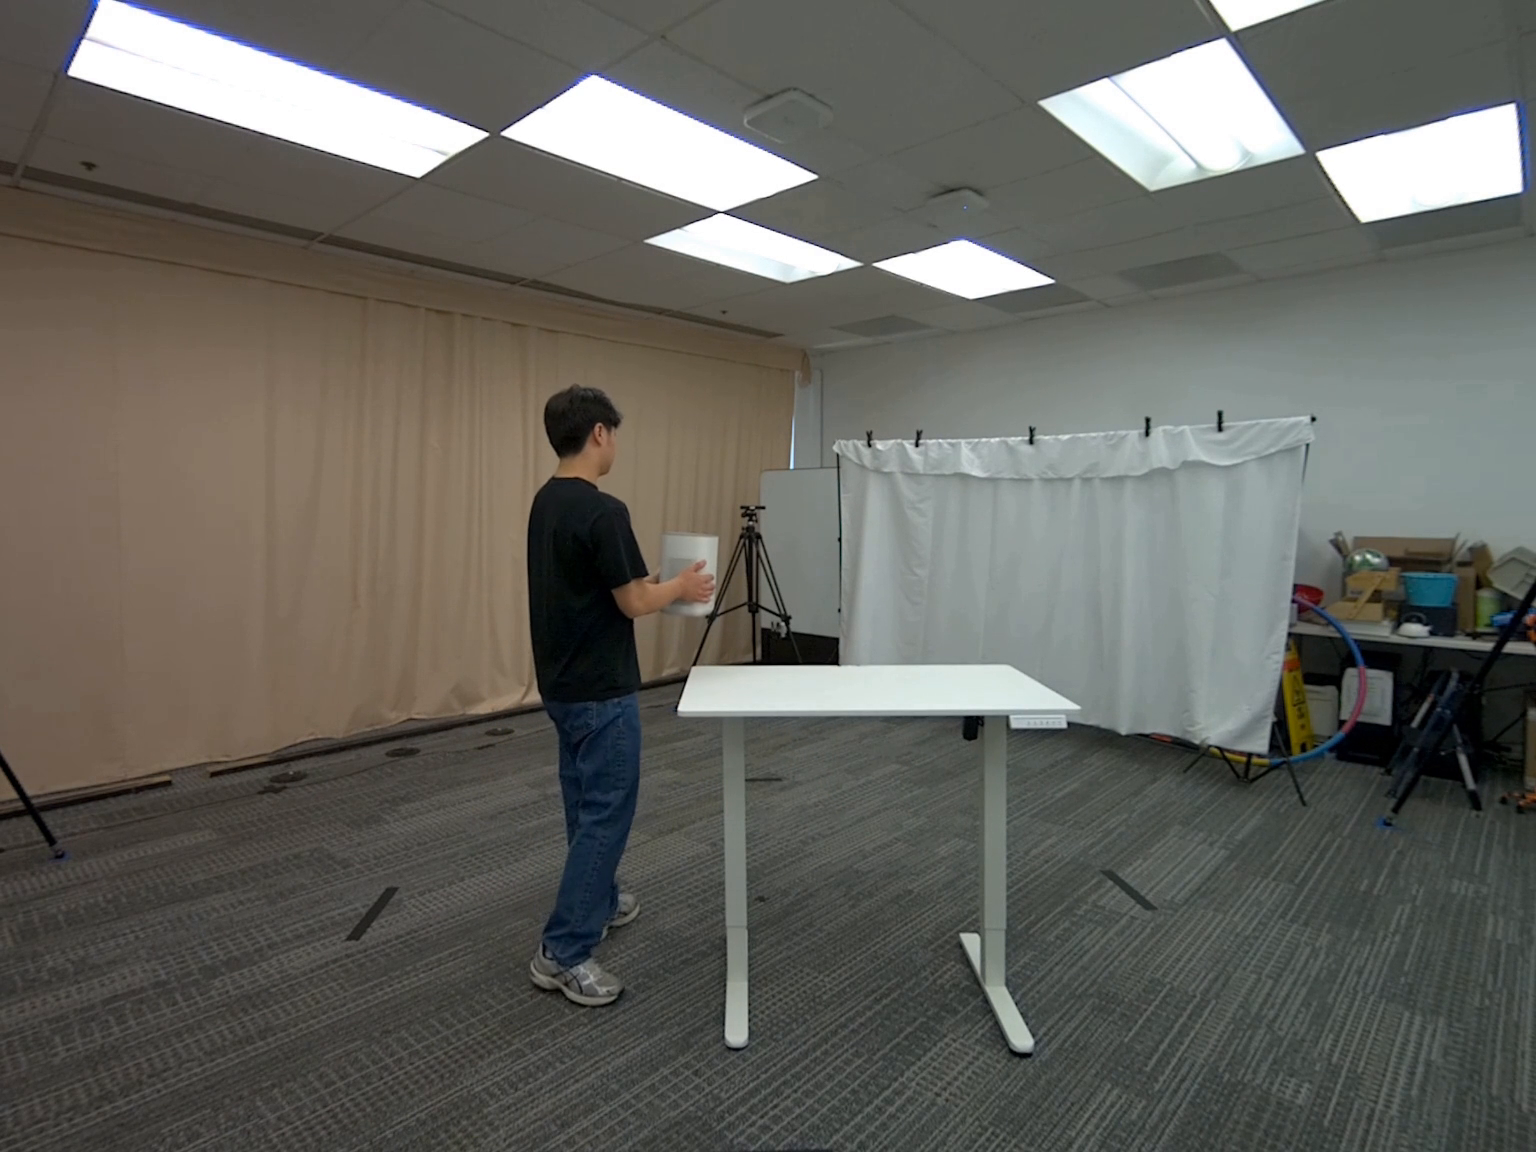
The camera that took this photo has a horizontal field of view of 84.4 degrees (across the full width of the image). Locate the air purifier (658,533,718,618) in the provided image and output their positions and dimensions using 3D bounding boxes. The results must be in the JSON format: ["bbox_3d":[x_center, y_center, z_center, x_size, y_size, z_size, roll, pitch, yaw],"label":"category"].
[{"bbox_3d":[-0.267,-0.007,2.774,0.175,0.265,0.168,5,3,15],"label":"air purifier"}]
